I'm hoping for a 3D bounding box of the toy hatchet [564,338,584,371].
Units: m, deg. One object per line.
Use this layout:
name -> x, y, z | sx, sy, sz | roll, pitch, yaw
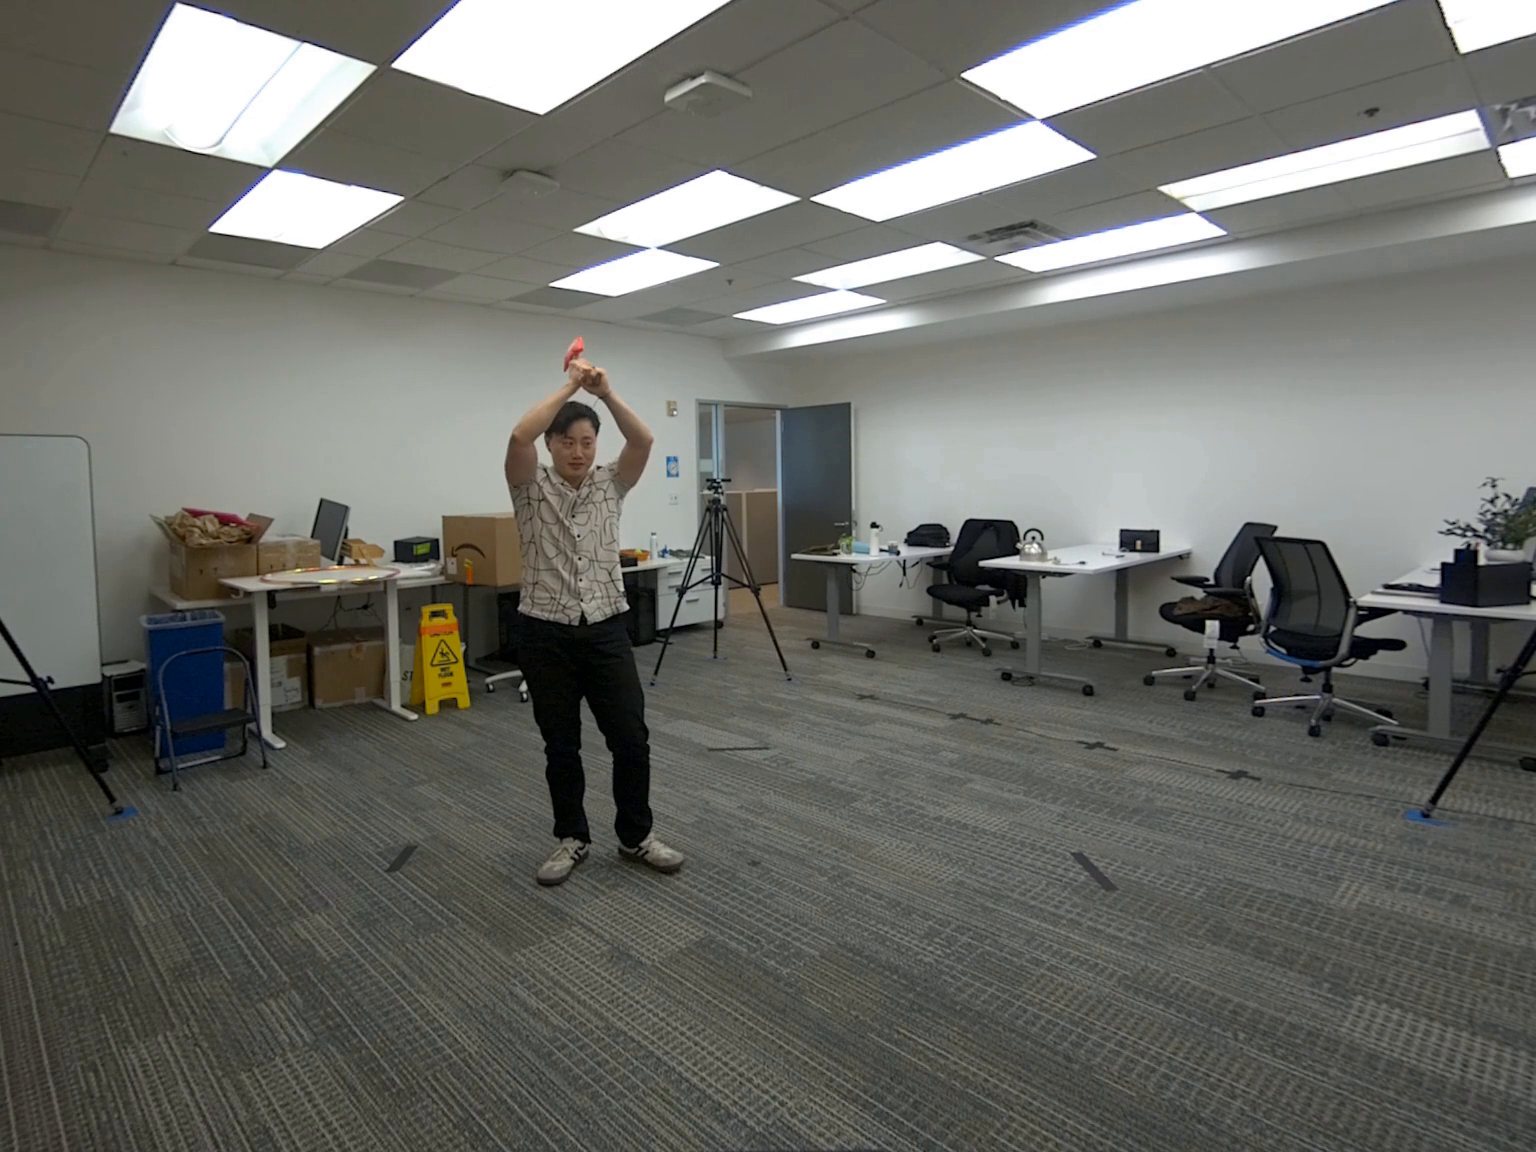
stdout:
toy hatchet -> -0.607, -0.723, 2.834 | 0.028, 0.130, 0.280 | 17, 10, -36
